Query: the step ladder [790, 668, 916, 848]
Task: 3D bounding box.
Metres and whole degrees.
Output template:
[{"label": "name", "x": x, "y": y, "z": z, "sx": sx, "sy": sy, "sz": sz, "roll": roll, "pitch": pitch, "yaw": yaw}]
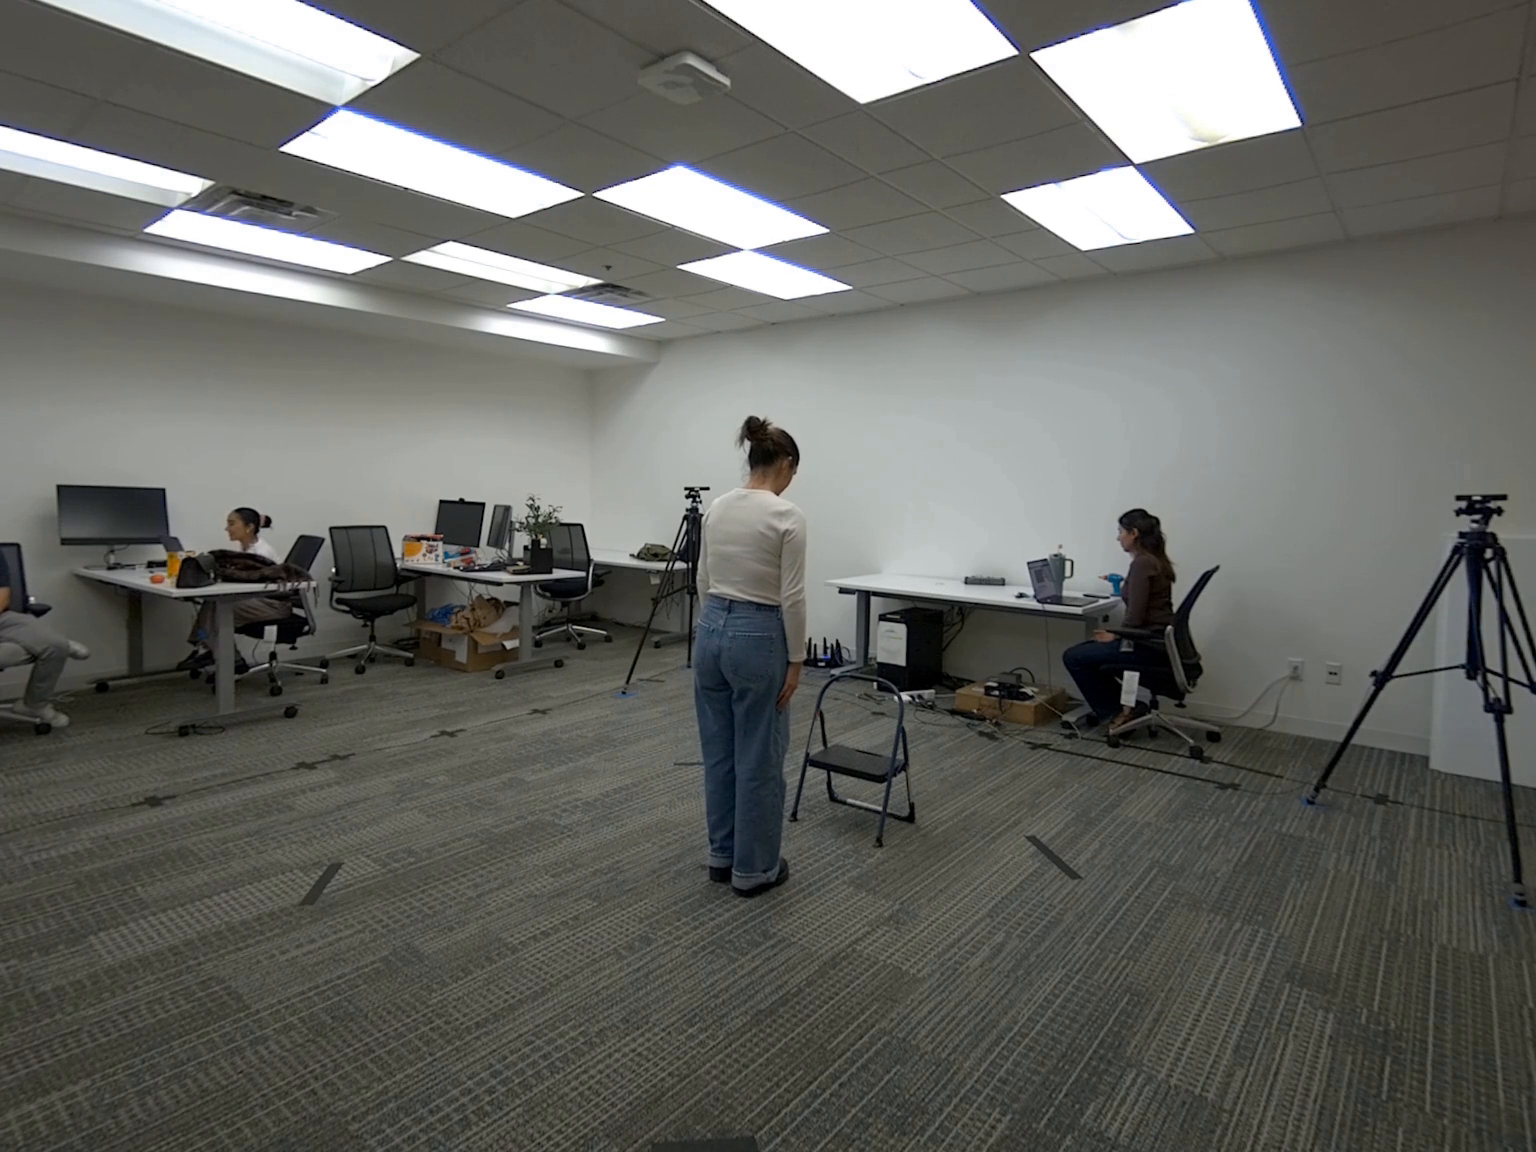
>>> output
[{"label": "step ladder", "x": 0.358, "y": 0.726, "z": 3.565, "sx": 0.444, "sy": 0.604, "sz": 0.339, "roll": 4, "pitch": 4, "yaw": 35}]
